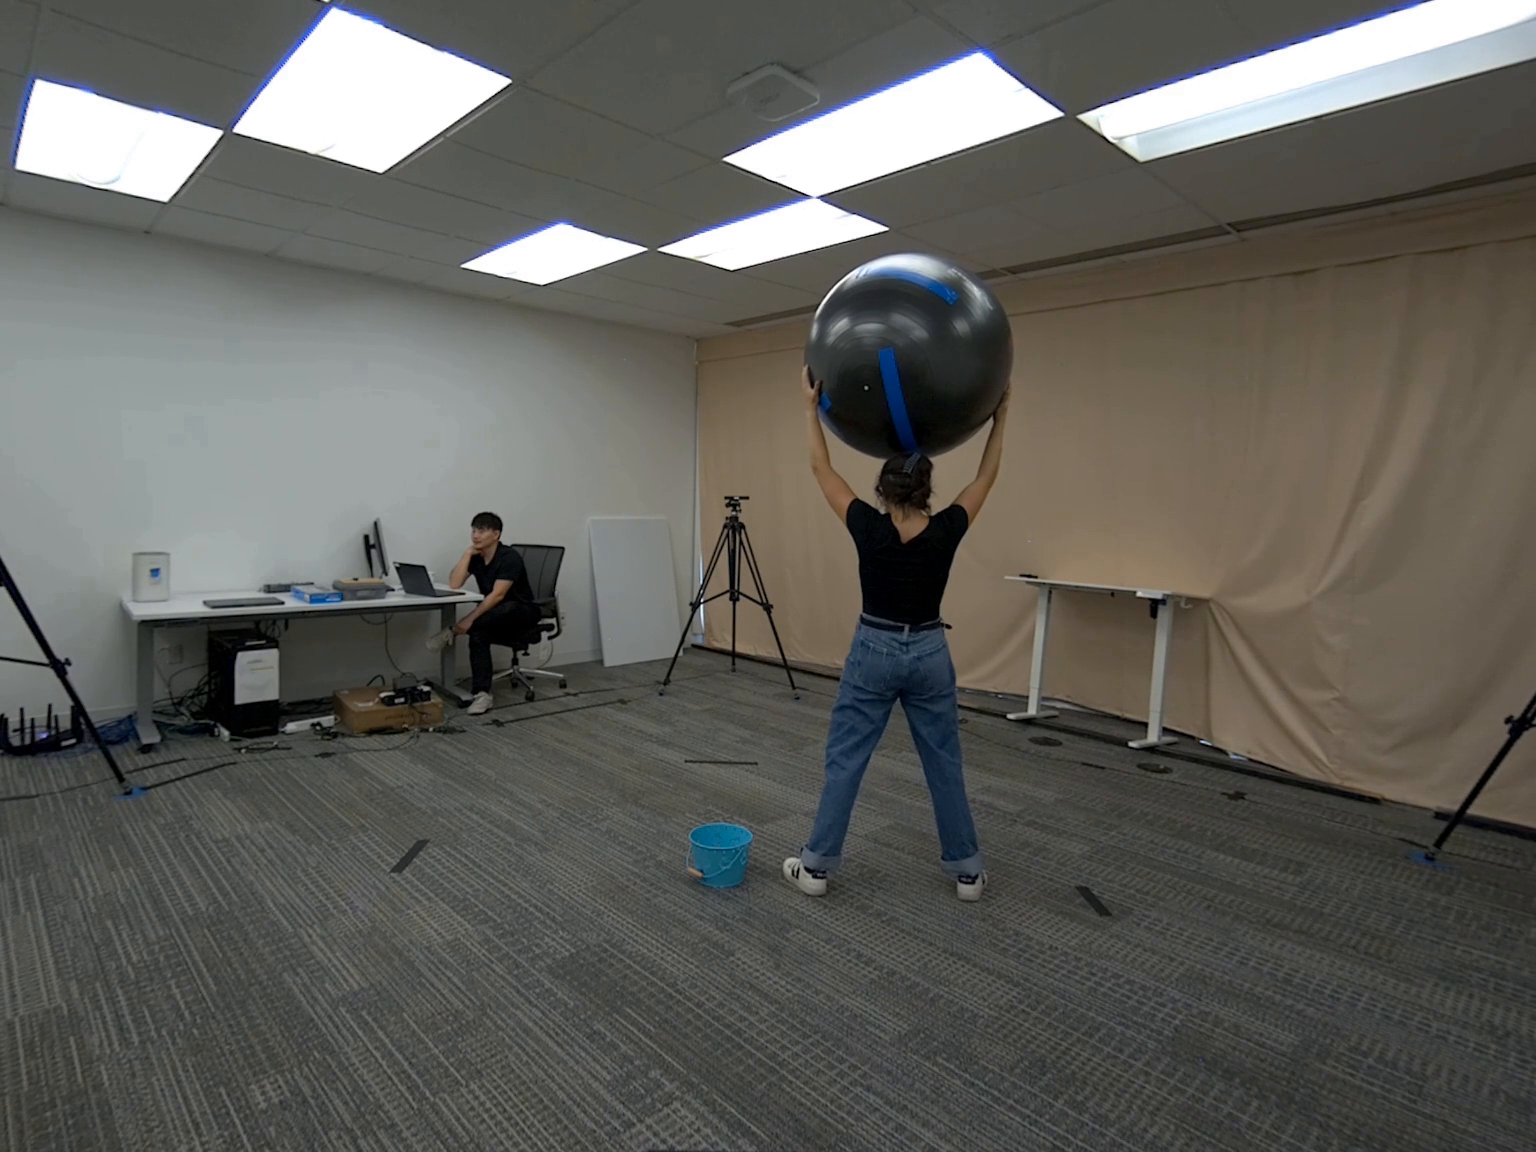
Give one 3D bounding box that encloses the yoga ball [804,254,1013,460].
[{"bbox_3d":[0.511,-0.798,3.151,0.757,0.756,0.760,1,4,-1],"label":"yoga ball"}]
